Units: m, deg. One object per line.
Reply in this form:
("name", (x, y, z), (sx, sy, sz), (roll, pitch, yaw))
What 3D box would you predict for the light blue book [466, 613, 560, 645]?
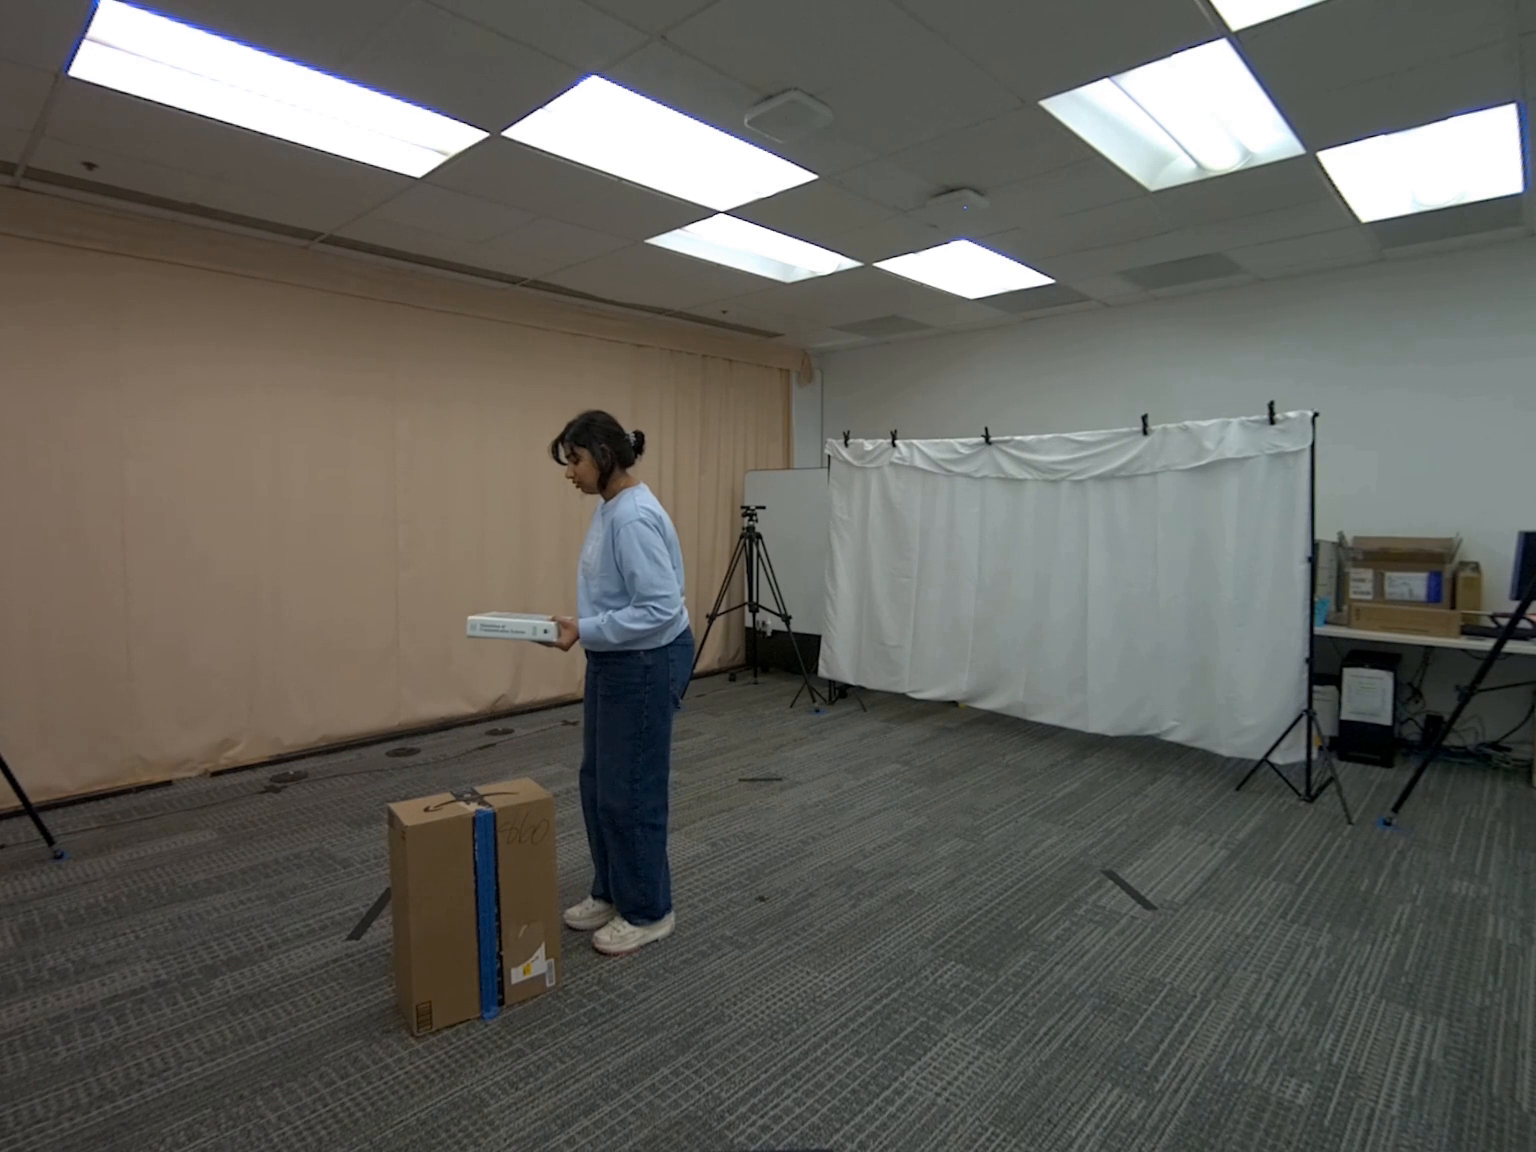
("light blue book", (-0.729, 0.159, 2.483), (0.263, 0.059, 0.189), (3, 1, 8))
